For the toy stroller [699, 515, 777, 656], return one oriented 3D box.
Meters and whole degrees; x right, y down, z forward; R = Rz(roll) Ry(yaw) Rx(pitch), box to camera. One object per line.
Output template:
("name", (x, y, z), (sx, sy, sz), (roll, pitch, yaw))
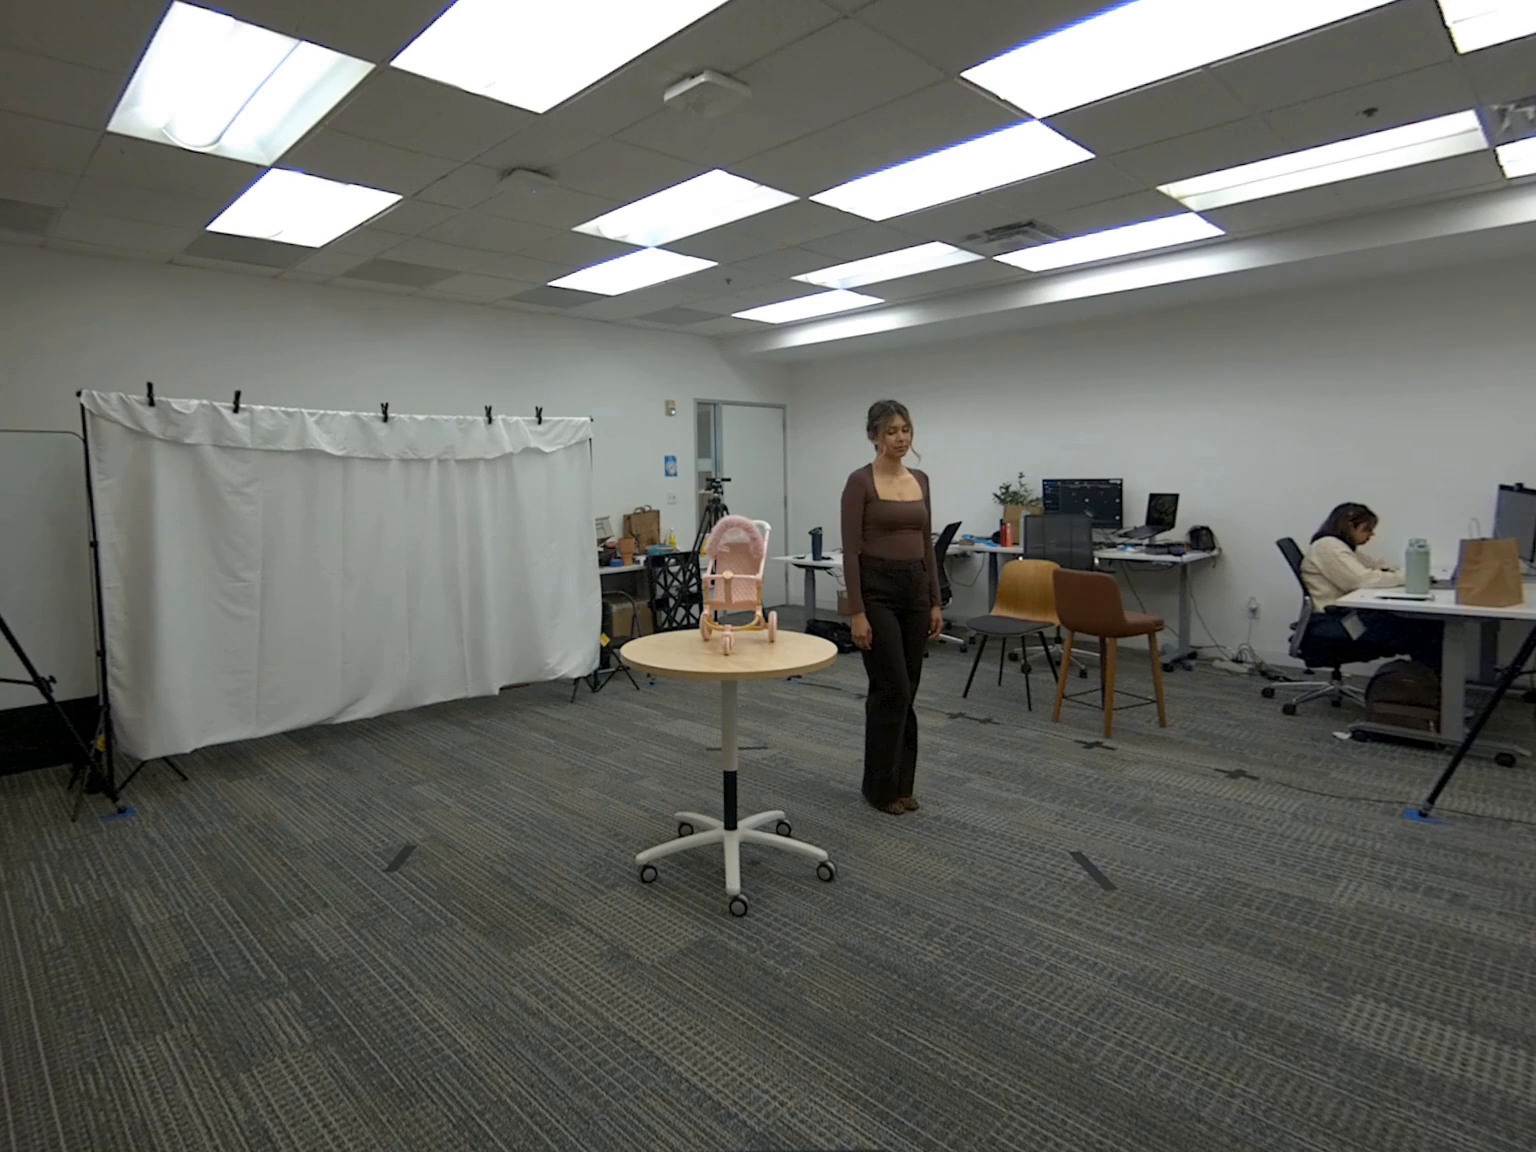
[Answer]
("toy stroller", (-0.115, 0.024, 3.077), (0.285, 0.540, 0.334), (0, -11, 12))
